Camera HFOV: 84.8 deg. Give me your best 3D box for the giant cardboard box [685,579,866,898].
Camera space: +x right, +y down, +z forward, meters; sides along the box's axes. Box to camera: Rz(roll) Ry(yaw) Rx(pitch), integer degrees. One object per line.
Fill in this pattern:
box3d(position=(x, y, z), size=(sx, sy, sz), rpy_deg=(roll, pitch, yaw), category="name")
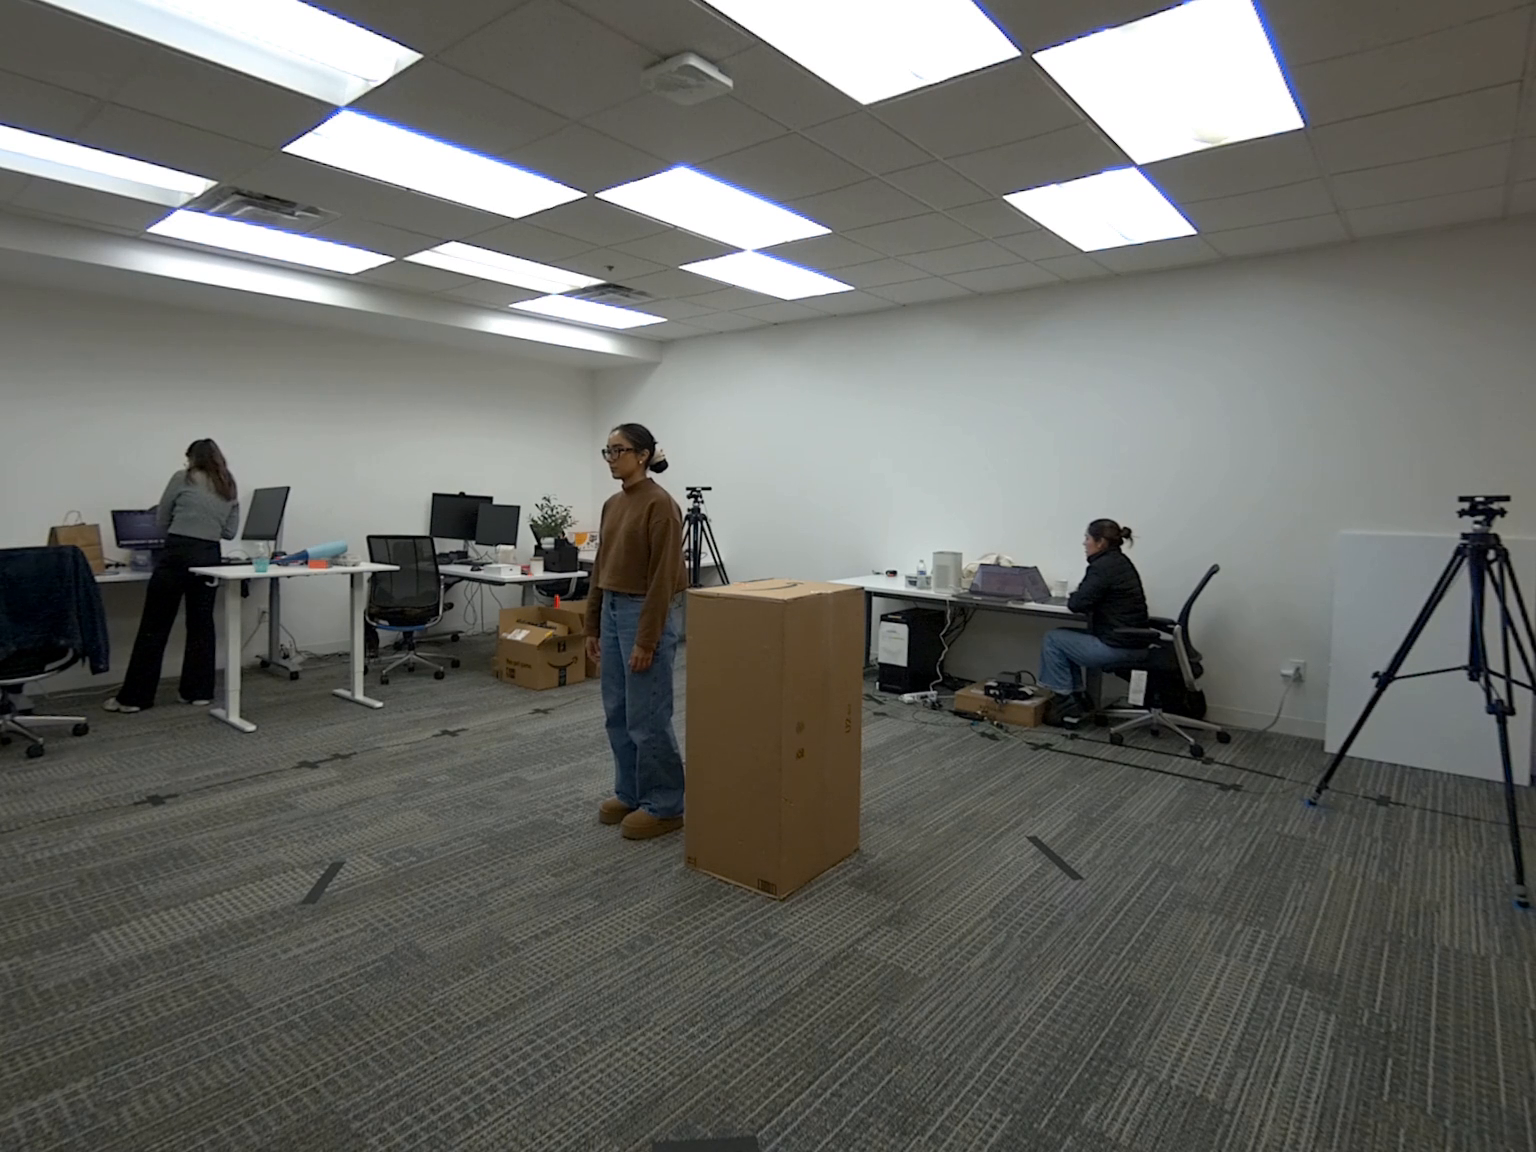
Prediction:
box3d(position=(0.020, 0.552, 3.190), size=(0.440, 1.023, 0.561), rpy_deg=(3, 3, 36), category="giant cardboard box")
